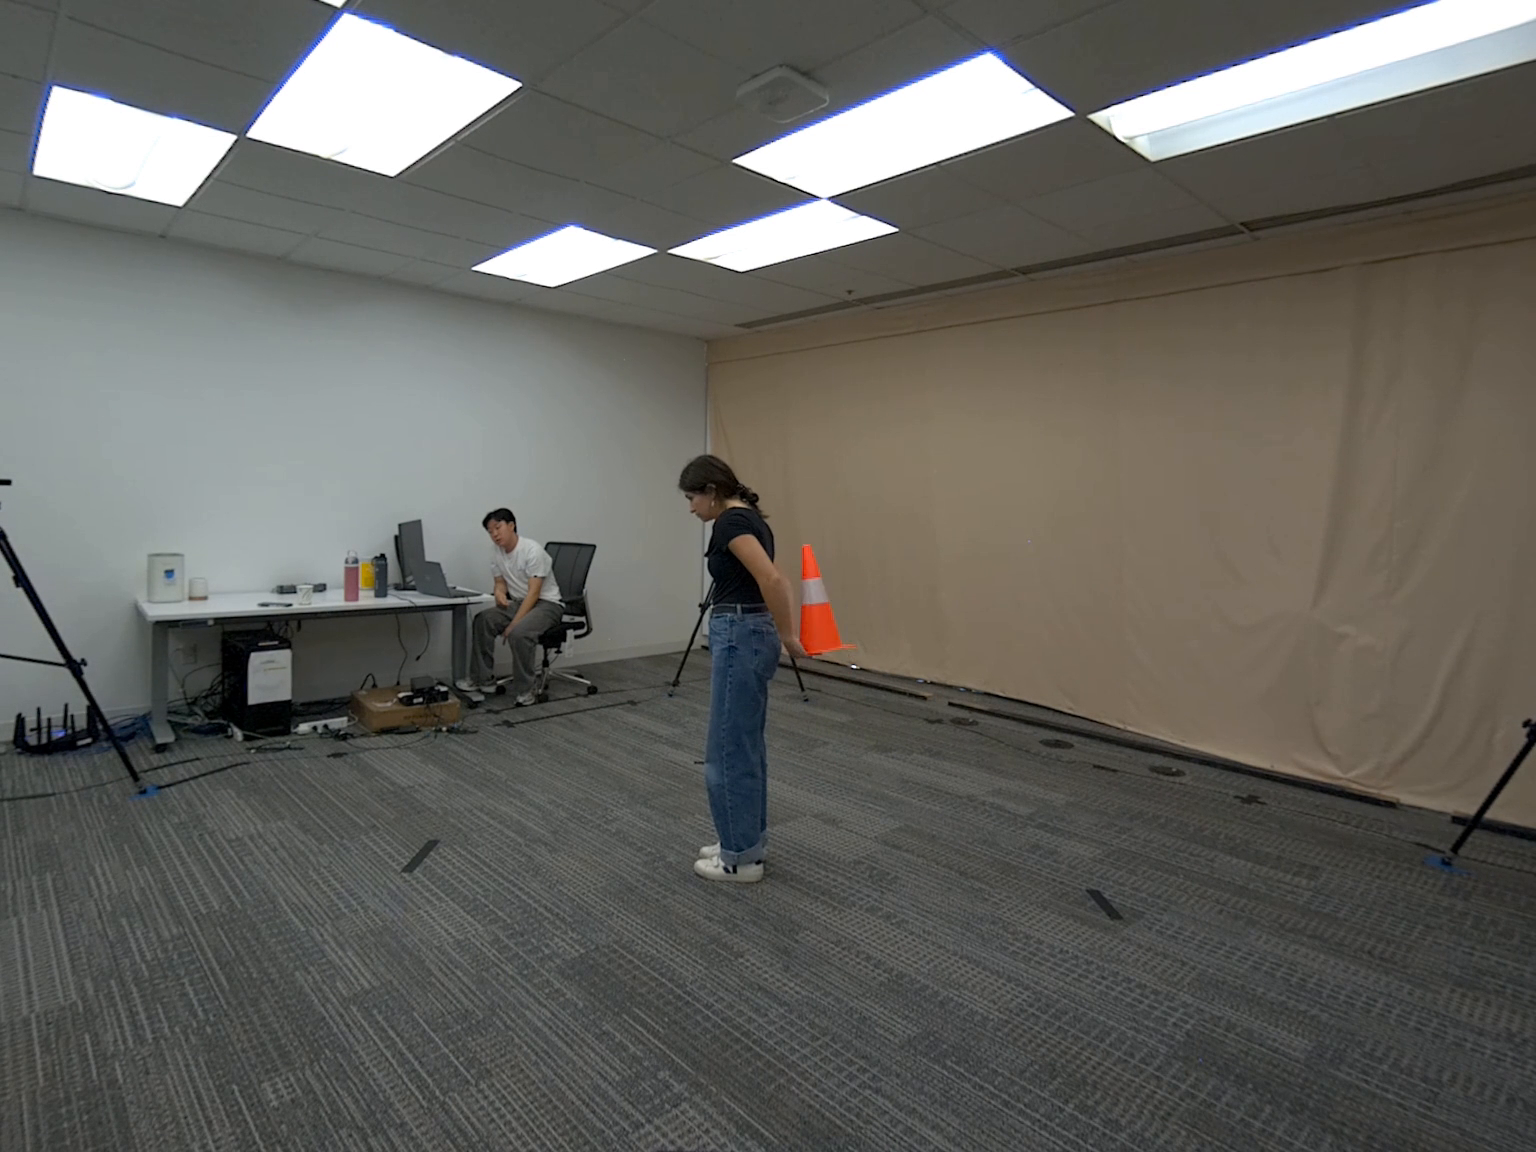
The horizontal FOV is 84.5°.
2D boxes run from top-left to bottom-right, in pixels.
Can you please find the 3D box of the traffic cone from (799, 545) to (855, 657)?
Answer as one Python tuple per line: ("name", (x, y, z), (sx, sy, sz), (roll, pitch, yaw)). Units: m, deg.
("traffic cone", (0.158, 0.084, 3.043), (0.202, 0.384, 0.205), (-7, -1, -18))
